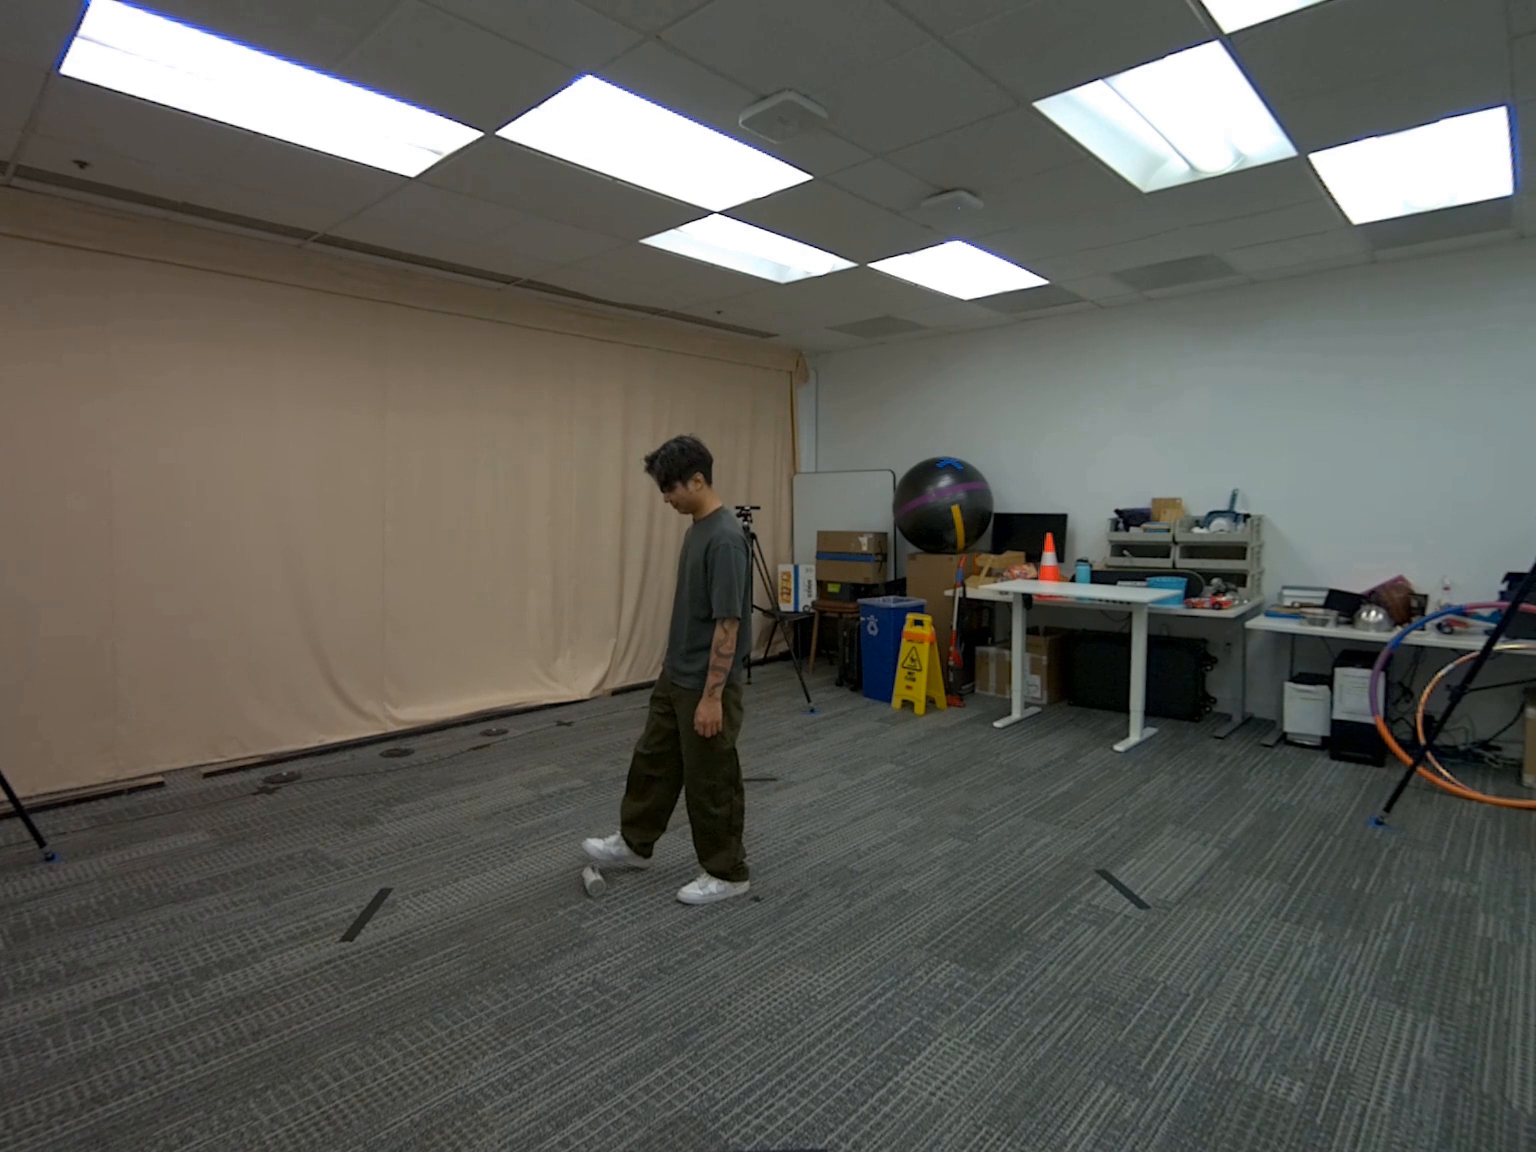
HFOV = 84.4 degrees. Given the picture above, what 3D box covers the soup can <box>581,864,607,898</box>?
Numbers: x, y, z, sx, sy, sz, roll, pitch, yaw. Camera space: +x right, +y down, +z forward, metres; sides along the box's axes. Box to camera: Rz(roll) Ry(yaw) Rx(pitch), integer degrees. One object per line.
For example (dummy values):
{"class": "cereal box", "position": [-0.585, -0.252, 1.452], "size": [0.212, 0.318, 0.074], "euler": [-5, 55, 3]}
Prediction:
{"class": "soup can", "position": [-0.635, 1.101, 3.068], "size": [0.066, 0.067, 0.124], "euler": [-1, 6, -21]}
